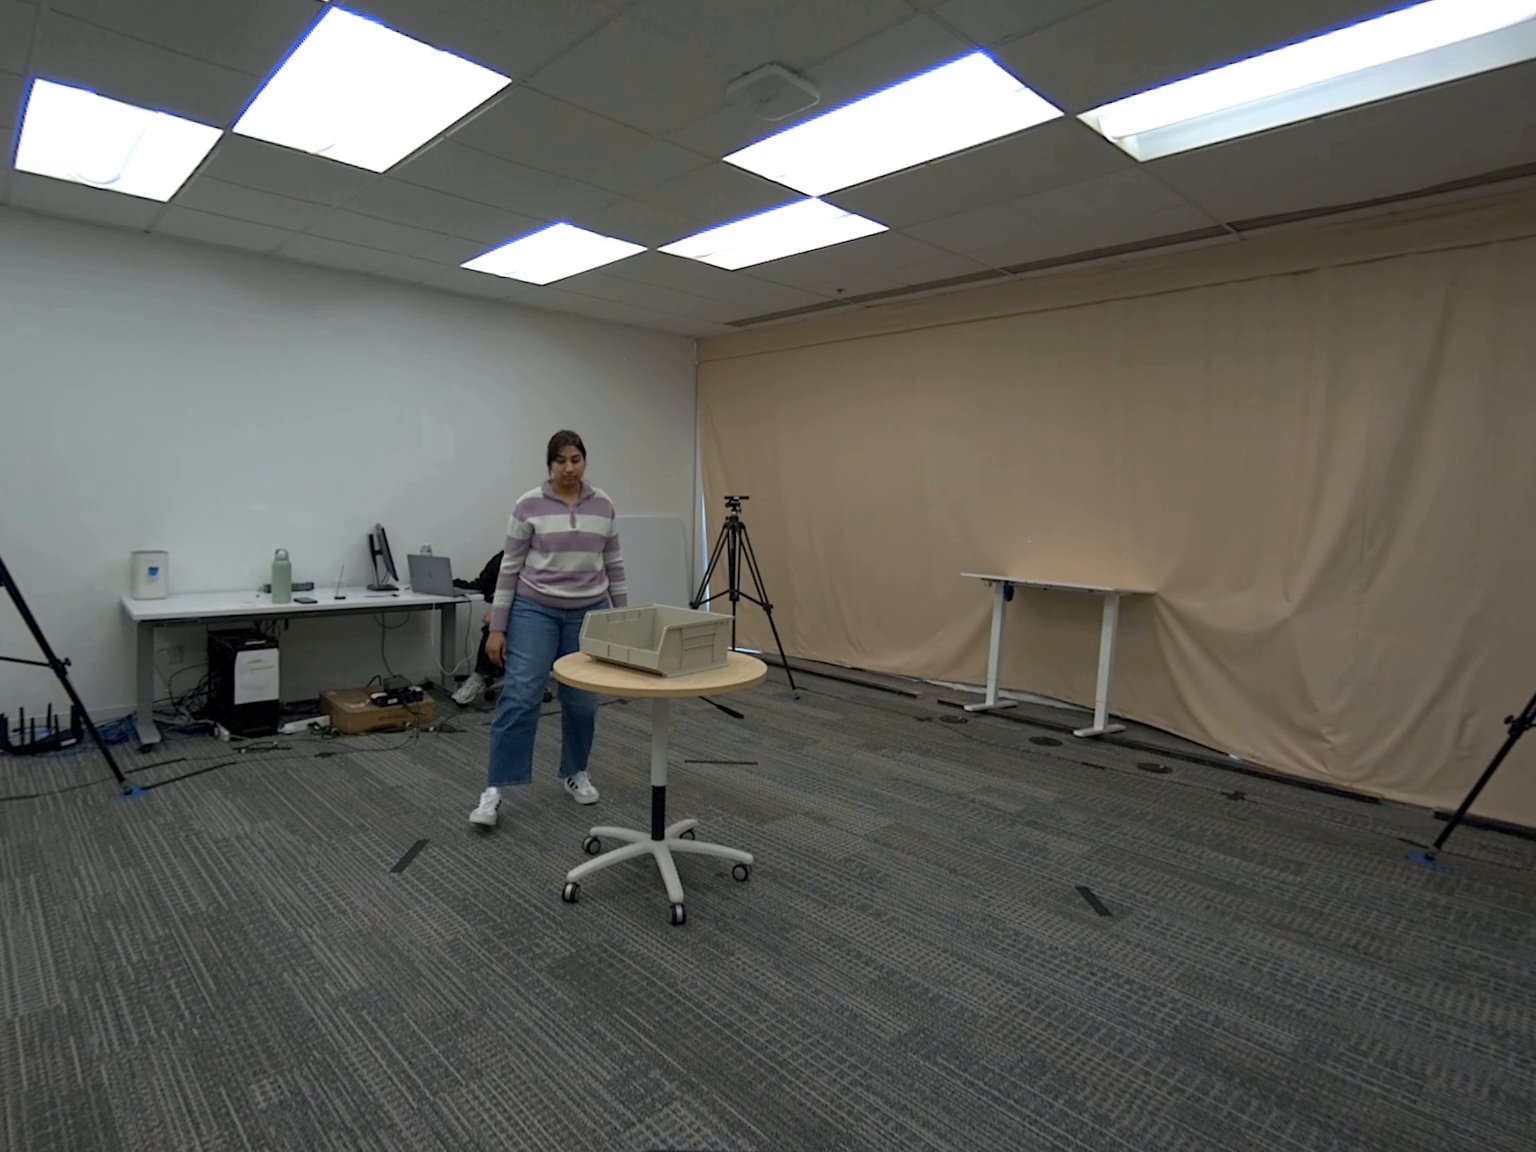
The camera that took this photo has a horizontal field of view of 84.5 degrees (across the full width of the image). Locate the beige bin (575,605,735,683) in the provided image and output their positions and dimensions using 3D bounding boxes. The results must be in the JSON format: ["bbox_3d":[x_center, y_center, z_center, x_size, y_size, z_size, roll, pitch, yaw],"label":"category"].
[{"bbox_3d":[-0.408,0.231,3.048,0.433,0.188,0.369,5,5,39],"label":"beige bin"}]
